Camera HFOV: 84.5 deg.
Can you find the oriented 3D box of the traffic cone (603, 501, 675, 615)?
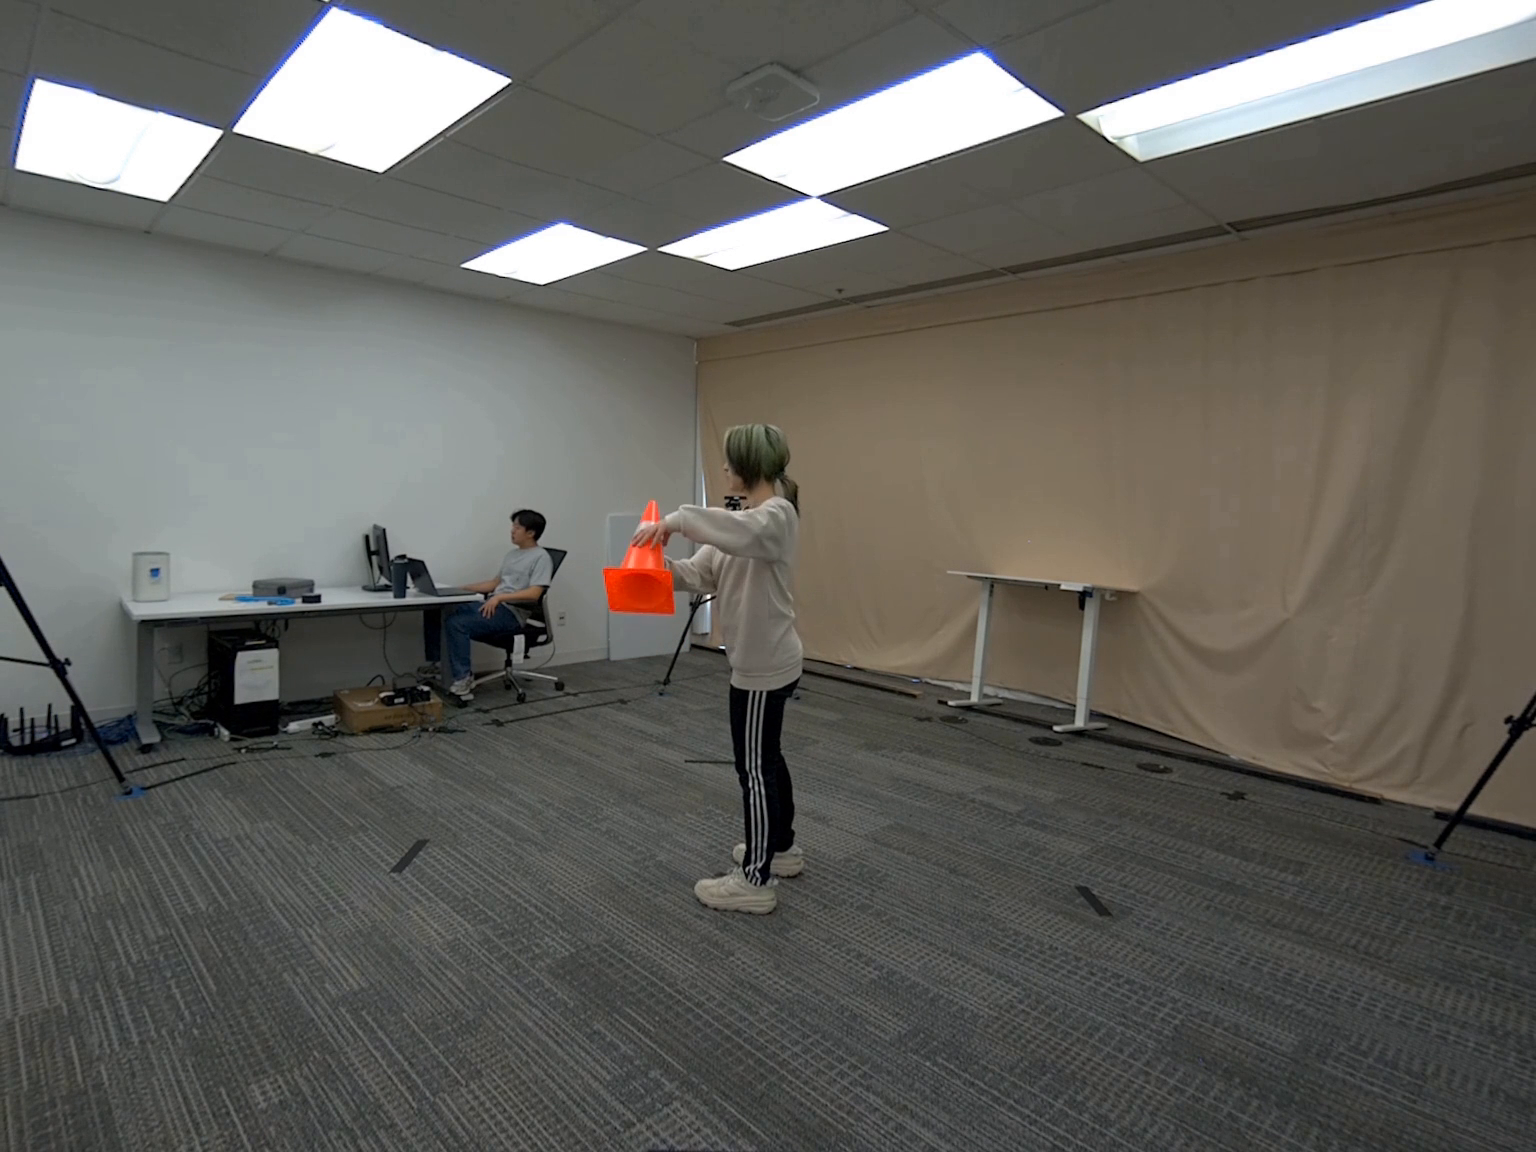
[{"bbox_3d":[-0.388,-0.076,2.594,0.204,0.200,0.391,0,47,4],"label":"traffic cone"}]
